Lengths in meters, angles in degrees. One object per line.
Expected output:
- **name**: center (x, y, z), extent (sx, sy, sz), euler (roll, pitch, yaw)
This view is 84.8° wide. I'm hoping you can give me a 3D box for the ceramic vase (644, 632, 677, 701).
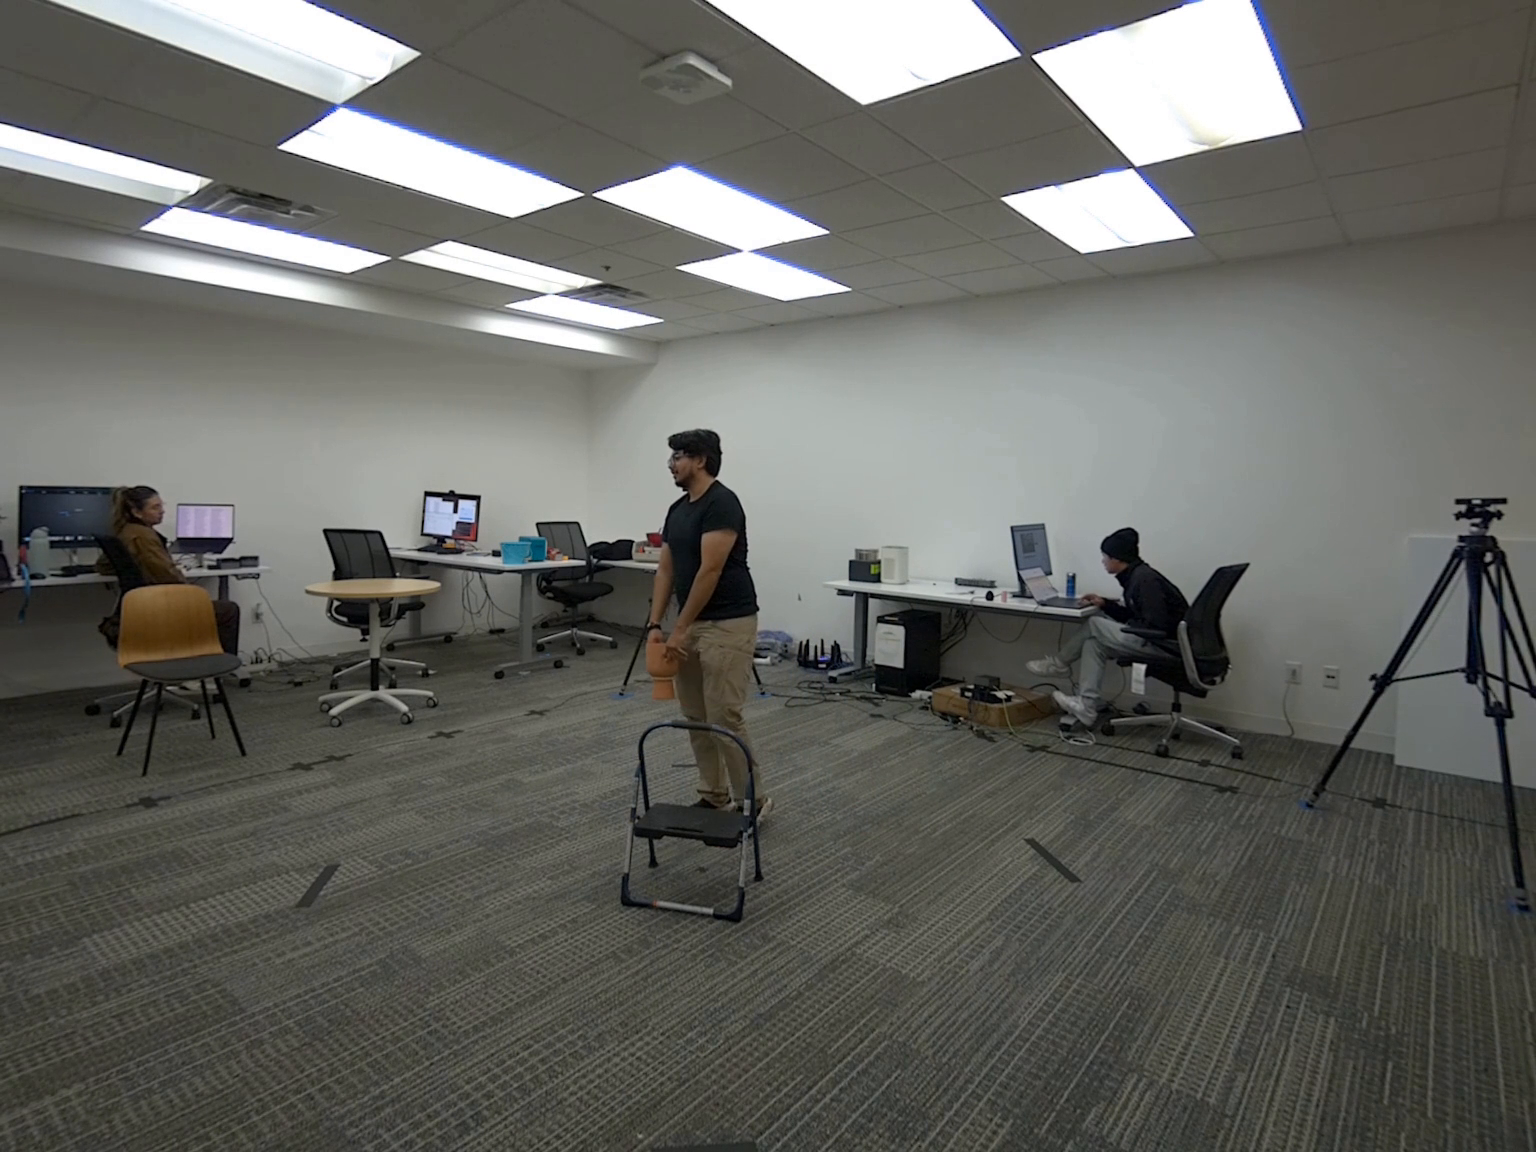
- **ceramic vase**: center (-0.436, 0.382, 3.453), extent (0.137, 0.221, 0.155), euler (-2, -3, 16)
